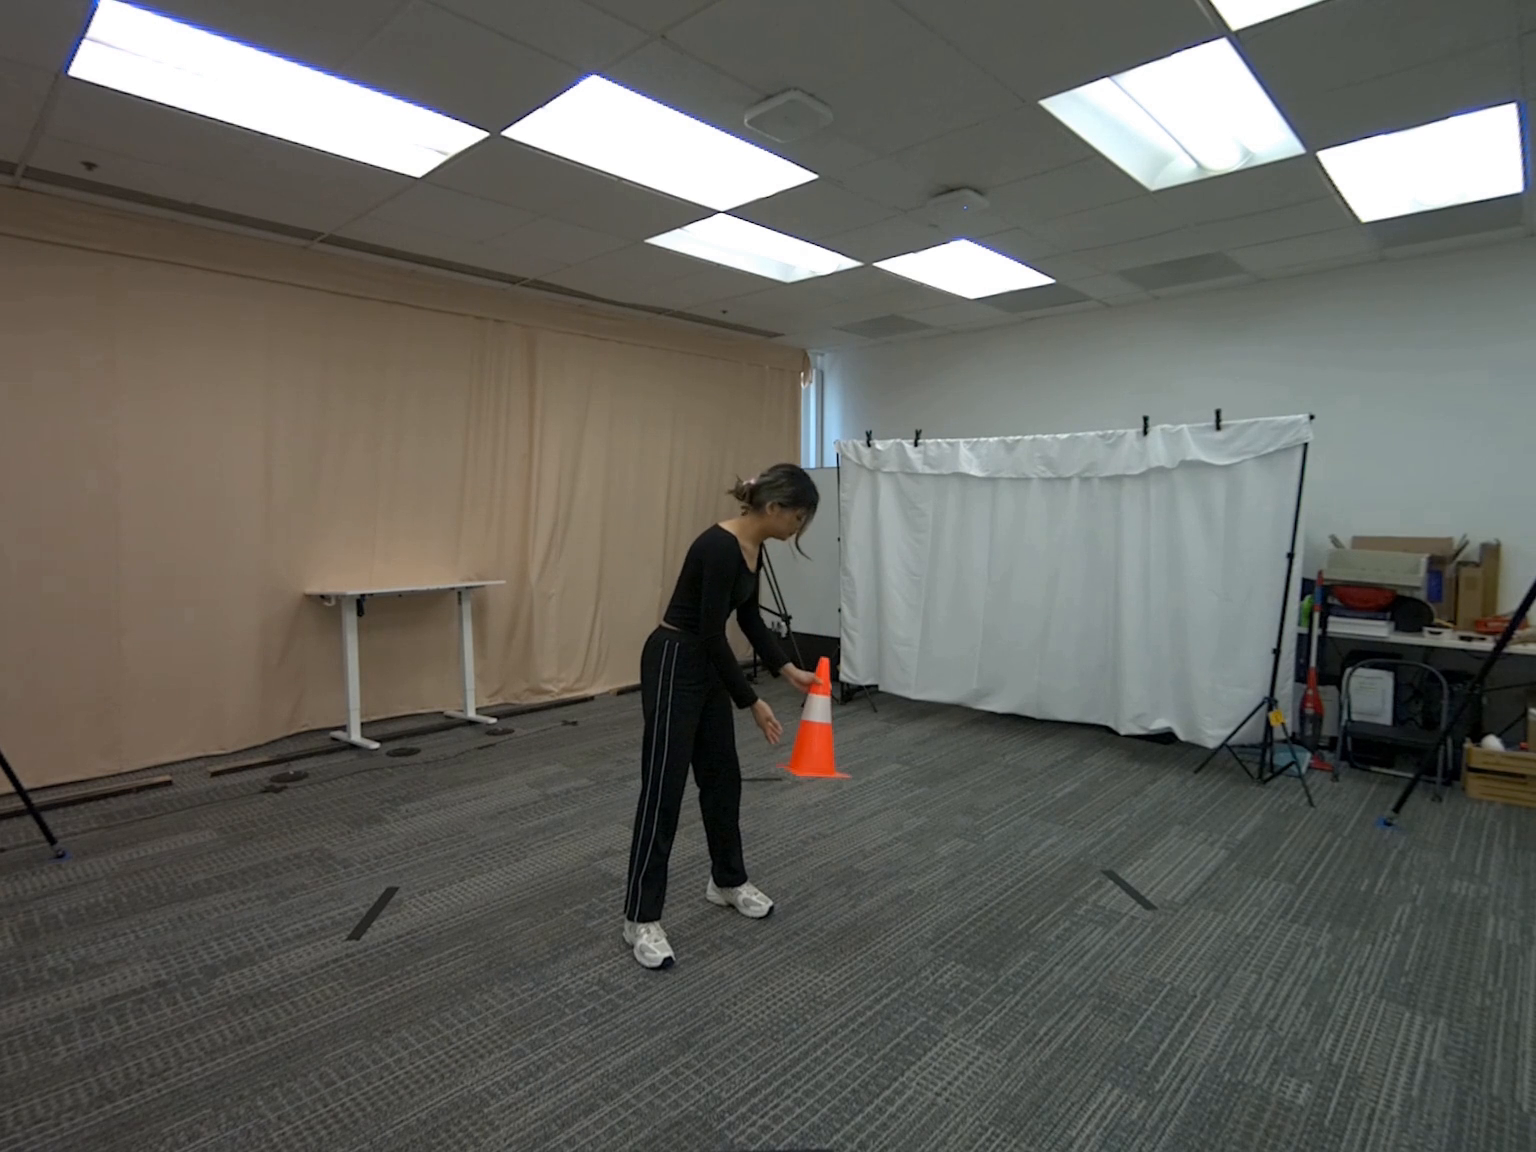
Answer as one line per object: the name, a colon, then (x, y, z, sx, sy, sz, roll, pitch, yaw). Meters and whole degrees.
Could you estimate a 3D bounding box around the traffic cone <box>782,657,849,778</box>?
traffic cone: (0.171, 0.473, 2.845, 0.200, 0.384, 0.208, 9, -5, -17)
